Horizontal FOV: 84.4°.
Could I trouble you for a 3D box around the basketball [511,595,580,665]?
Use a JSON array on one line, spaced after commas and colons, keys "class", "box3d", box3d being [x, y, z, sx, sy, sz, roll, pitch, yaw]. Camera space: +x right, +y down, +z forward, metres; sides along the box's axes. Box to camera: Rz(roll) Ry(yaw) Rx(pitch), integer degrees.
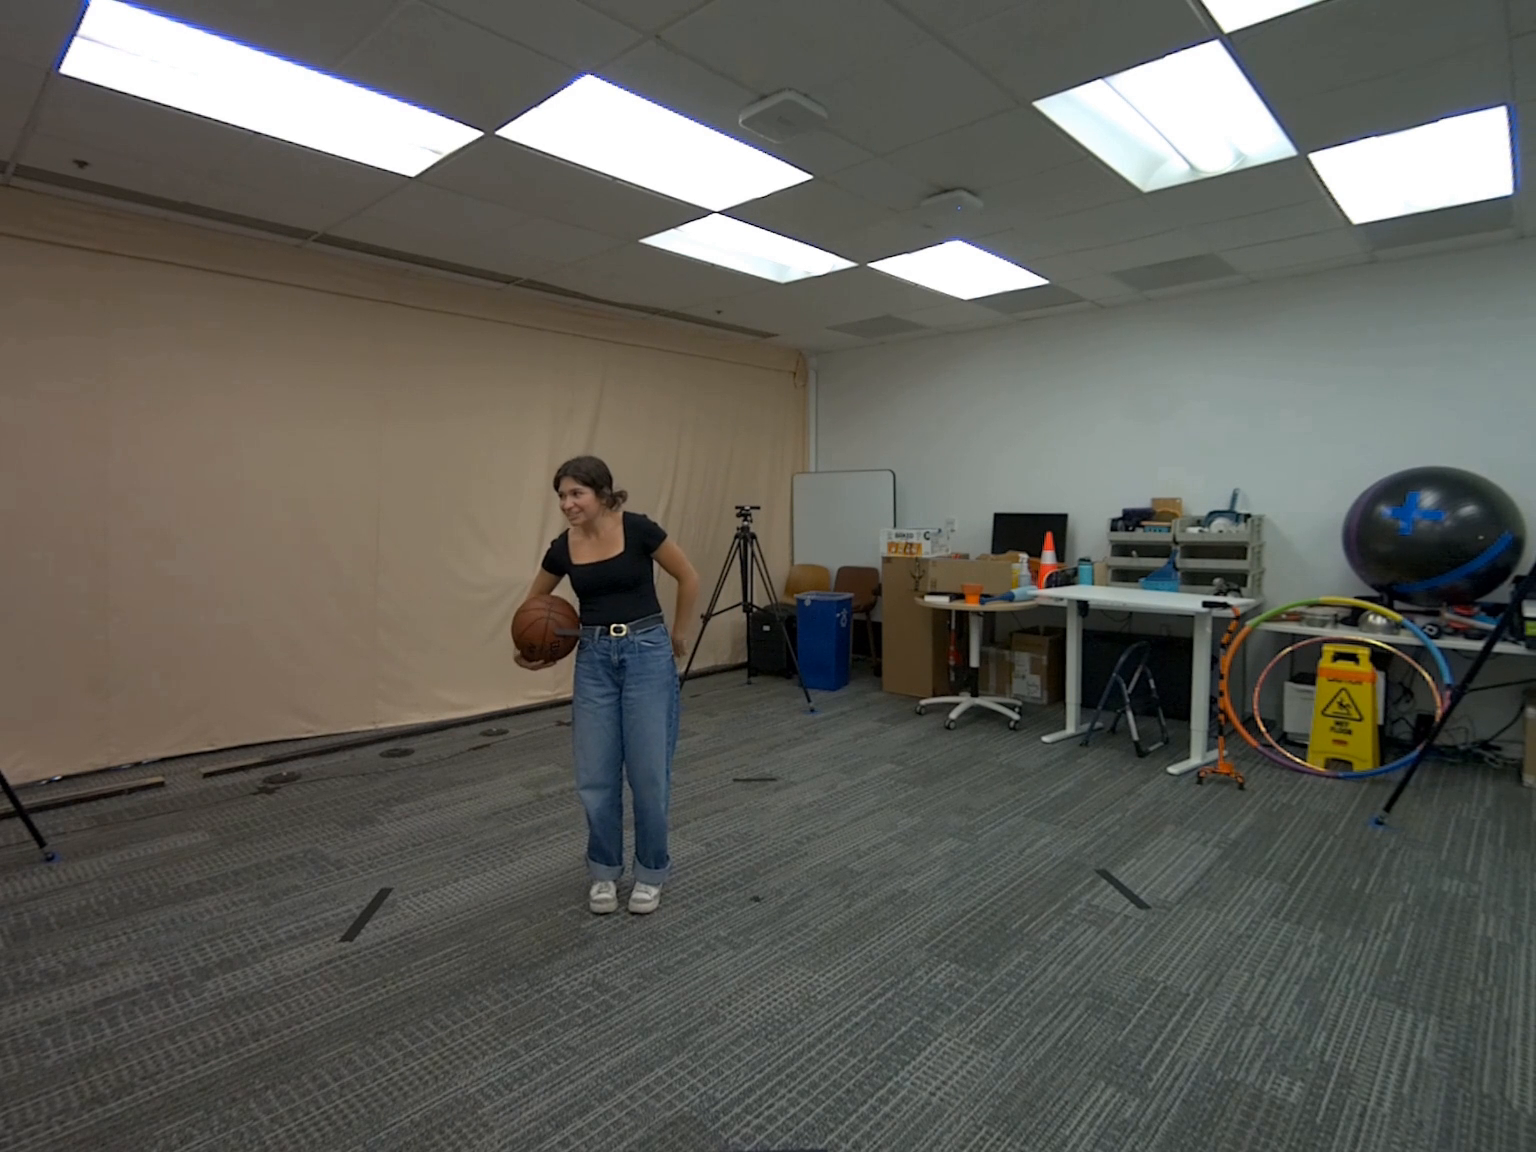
[{"class": "basketball", "box3d": [-0.770, 0.185, 2.941, 0.236, 0.235, 0.237, 0, 4, -2]}]
